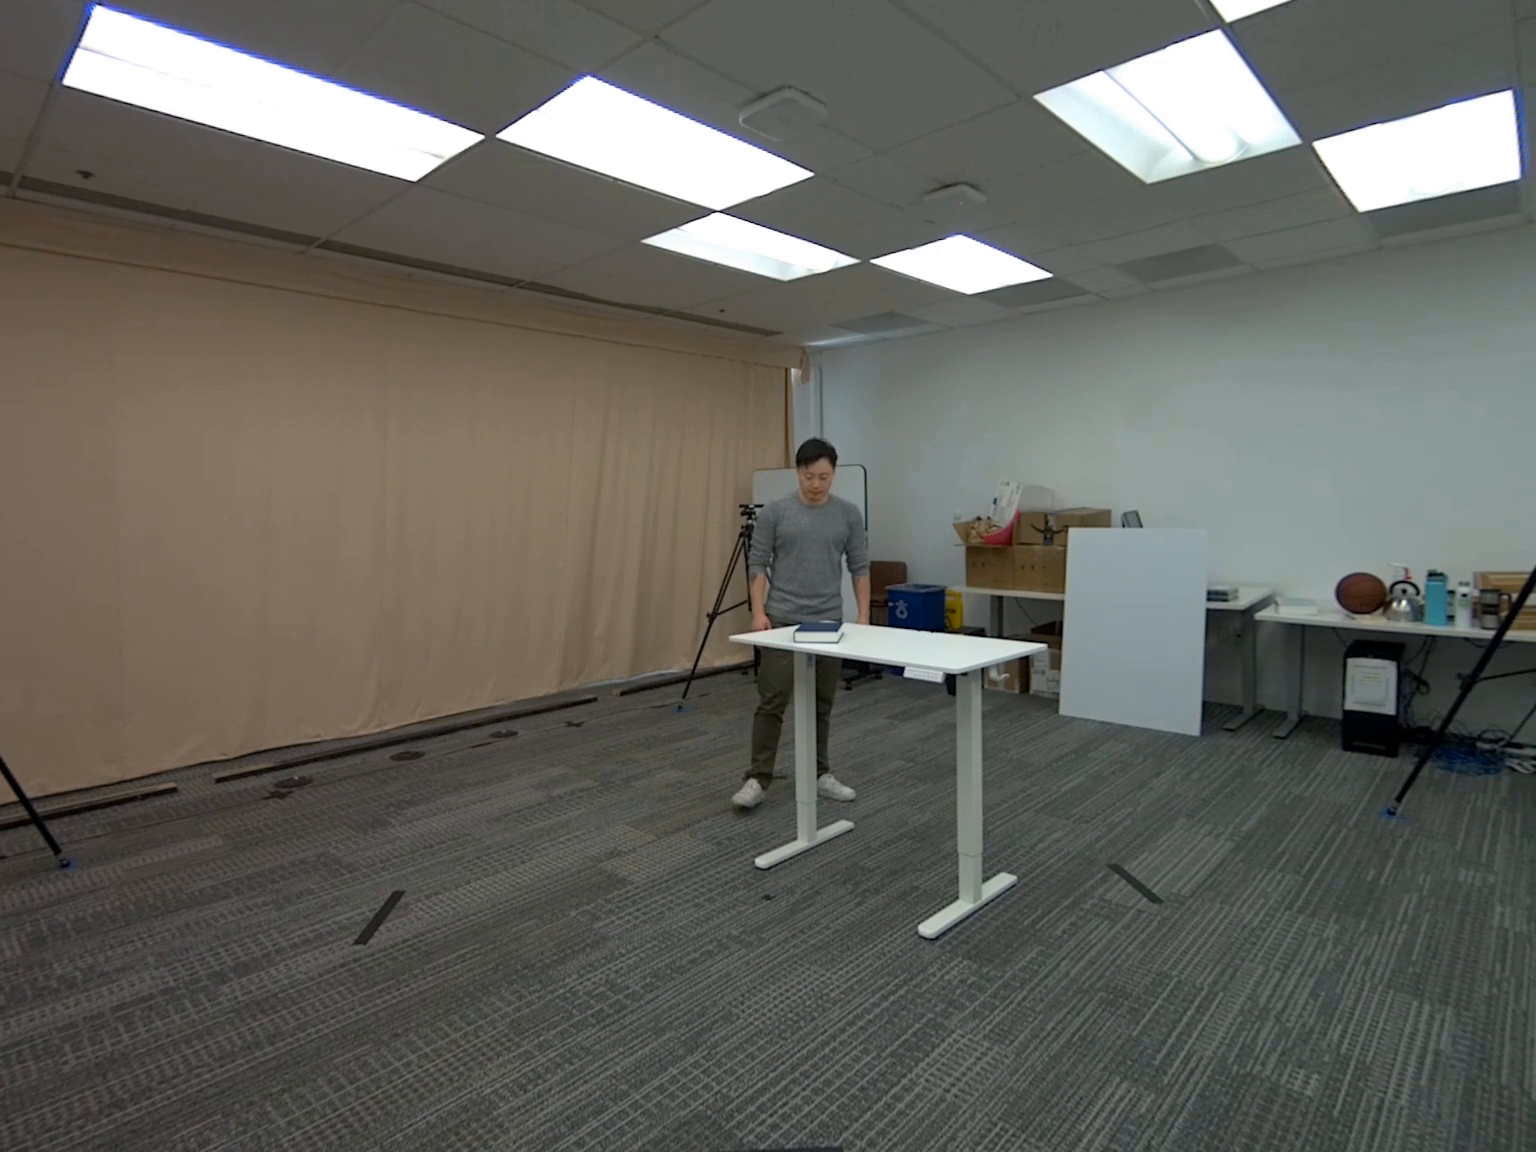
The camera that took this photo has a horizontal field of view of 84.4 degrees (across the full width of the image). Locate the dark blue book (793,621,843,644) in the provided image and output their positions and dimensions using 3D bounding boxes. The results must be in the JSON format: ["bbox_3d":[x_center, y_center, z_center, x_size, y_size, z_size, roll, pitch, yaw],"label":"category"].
[{"bbox_3d":[0.193,0.216,3.200,0.166,0.045,0.242,-1,4,13],"label":"dark blue book"}]
